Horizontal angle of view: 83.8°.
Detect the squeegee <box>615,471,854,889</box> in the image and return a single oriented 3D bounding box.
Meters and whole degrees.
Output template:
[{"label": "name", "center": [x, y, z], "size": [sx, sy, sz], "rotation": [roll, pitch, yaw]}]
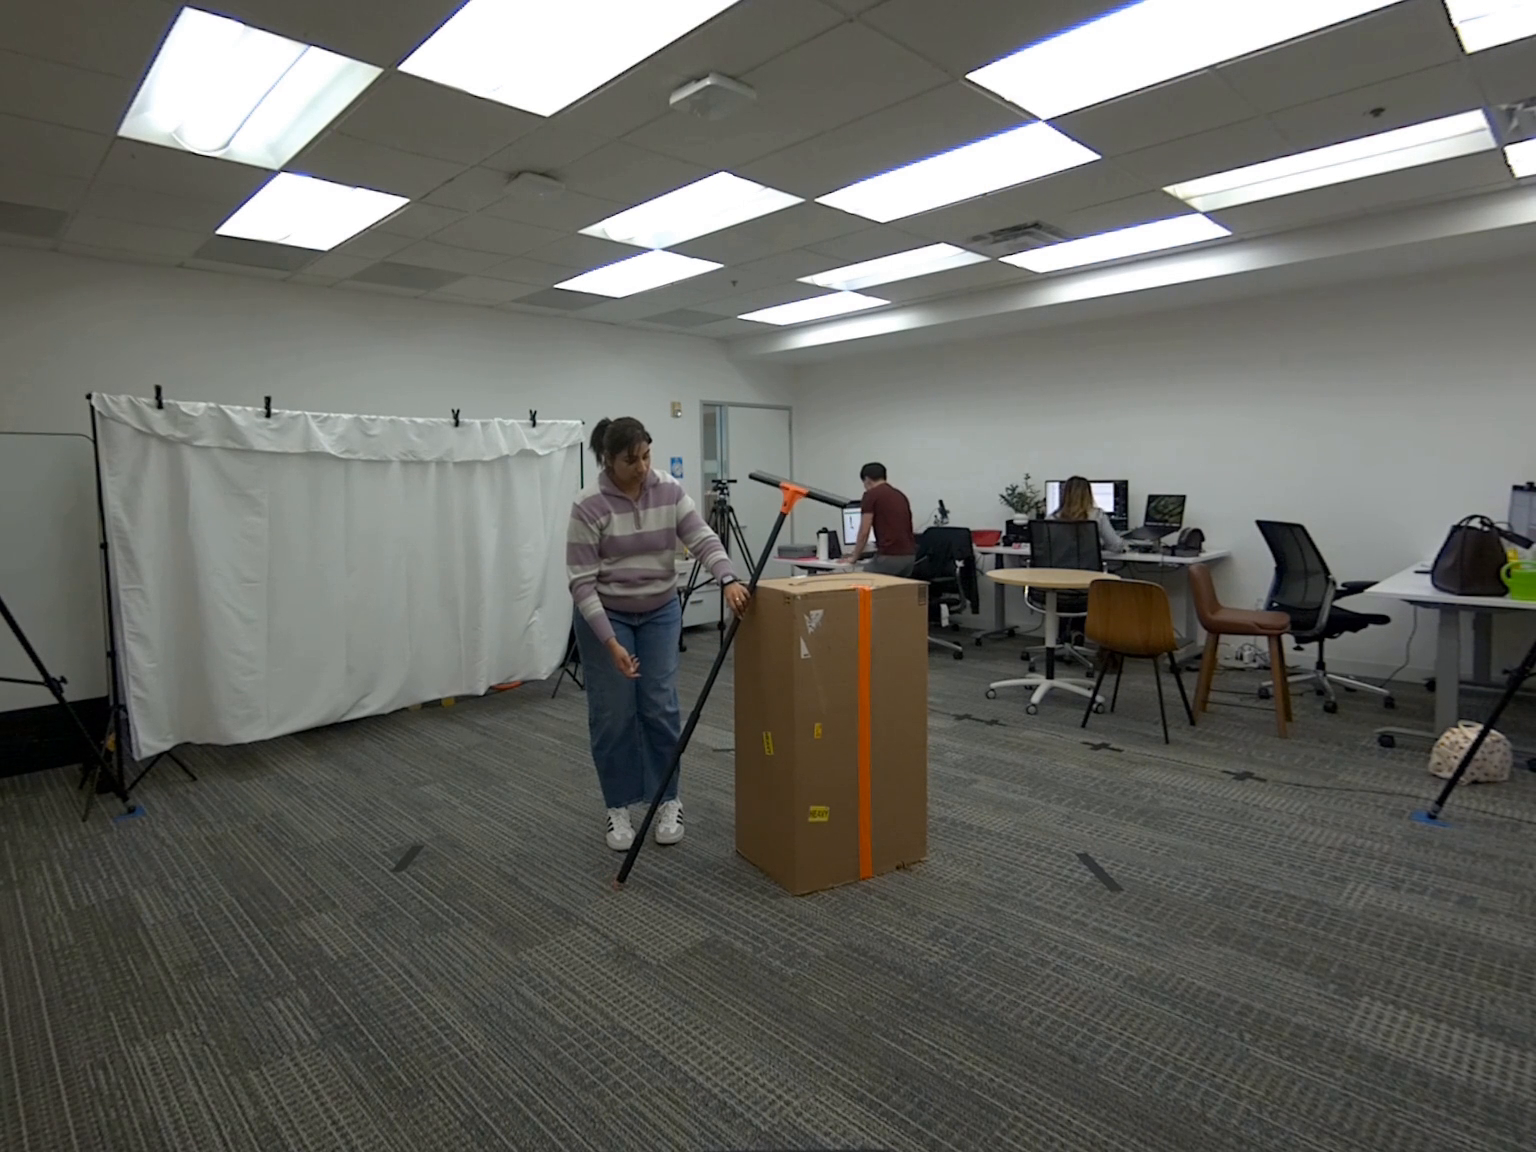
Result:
[{"label": "squeegee", "center": [-0.211, 0.368, 2.964], "size": [0.450, 1.543, 0.051], "rotation": [20, -9, 25]}]
